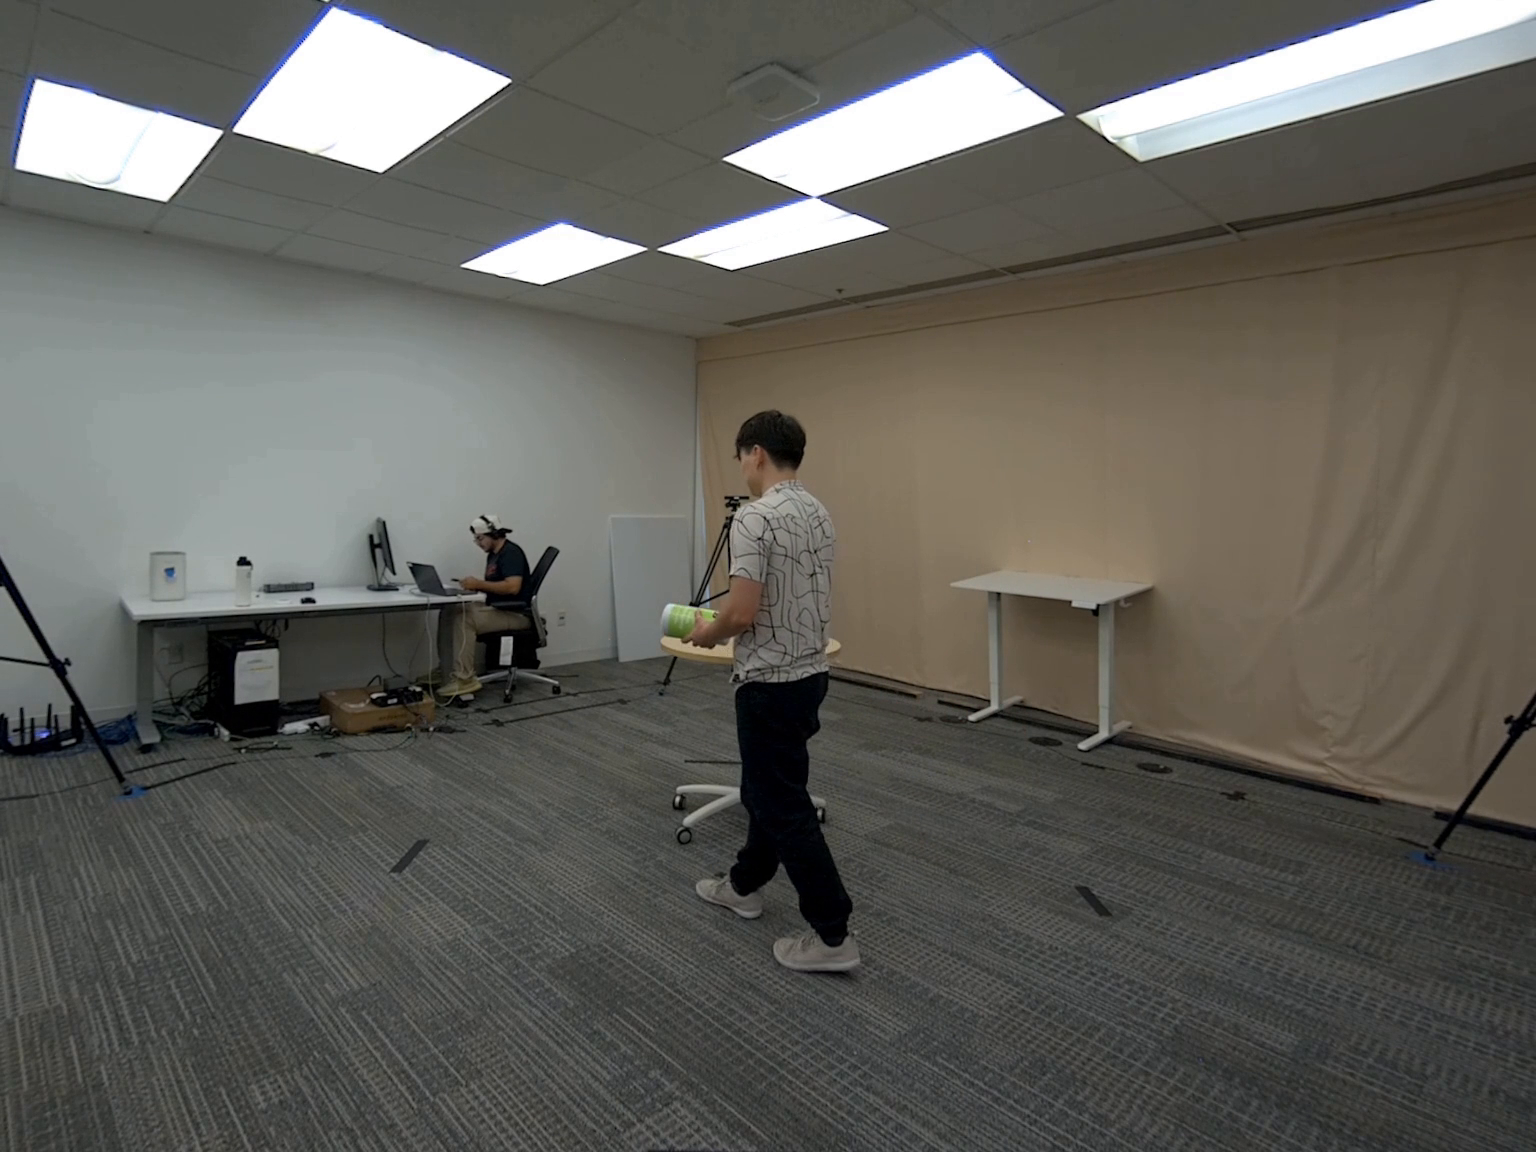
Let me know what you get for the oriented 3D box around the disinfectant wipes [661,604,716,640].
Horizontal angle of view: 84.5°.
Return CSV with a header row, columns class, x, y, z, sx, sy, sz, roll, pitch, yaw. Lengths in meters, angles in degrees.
class,x,y,z,sx,sy,sz,roll,pitch,yaw
disinfectant wipes,-0.226,0.158,2.733,0.219,0.117,0.117,9,5,11
